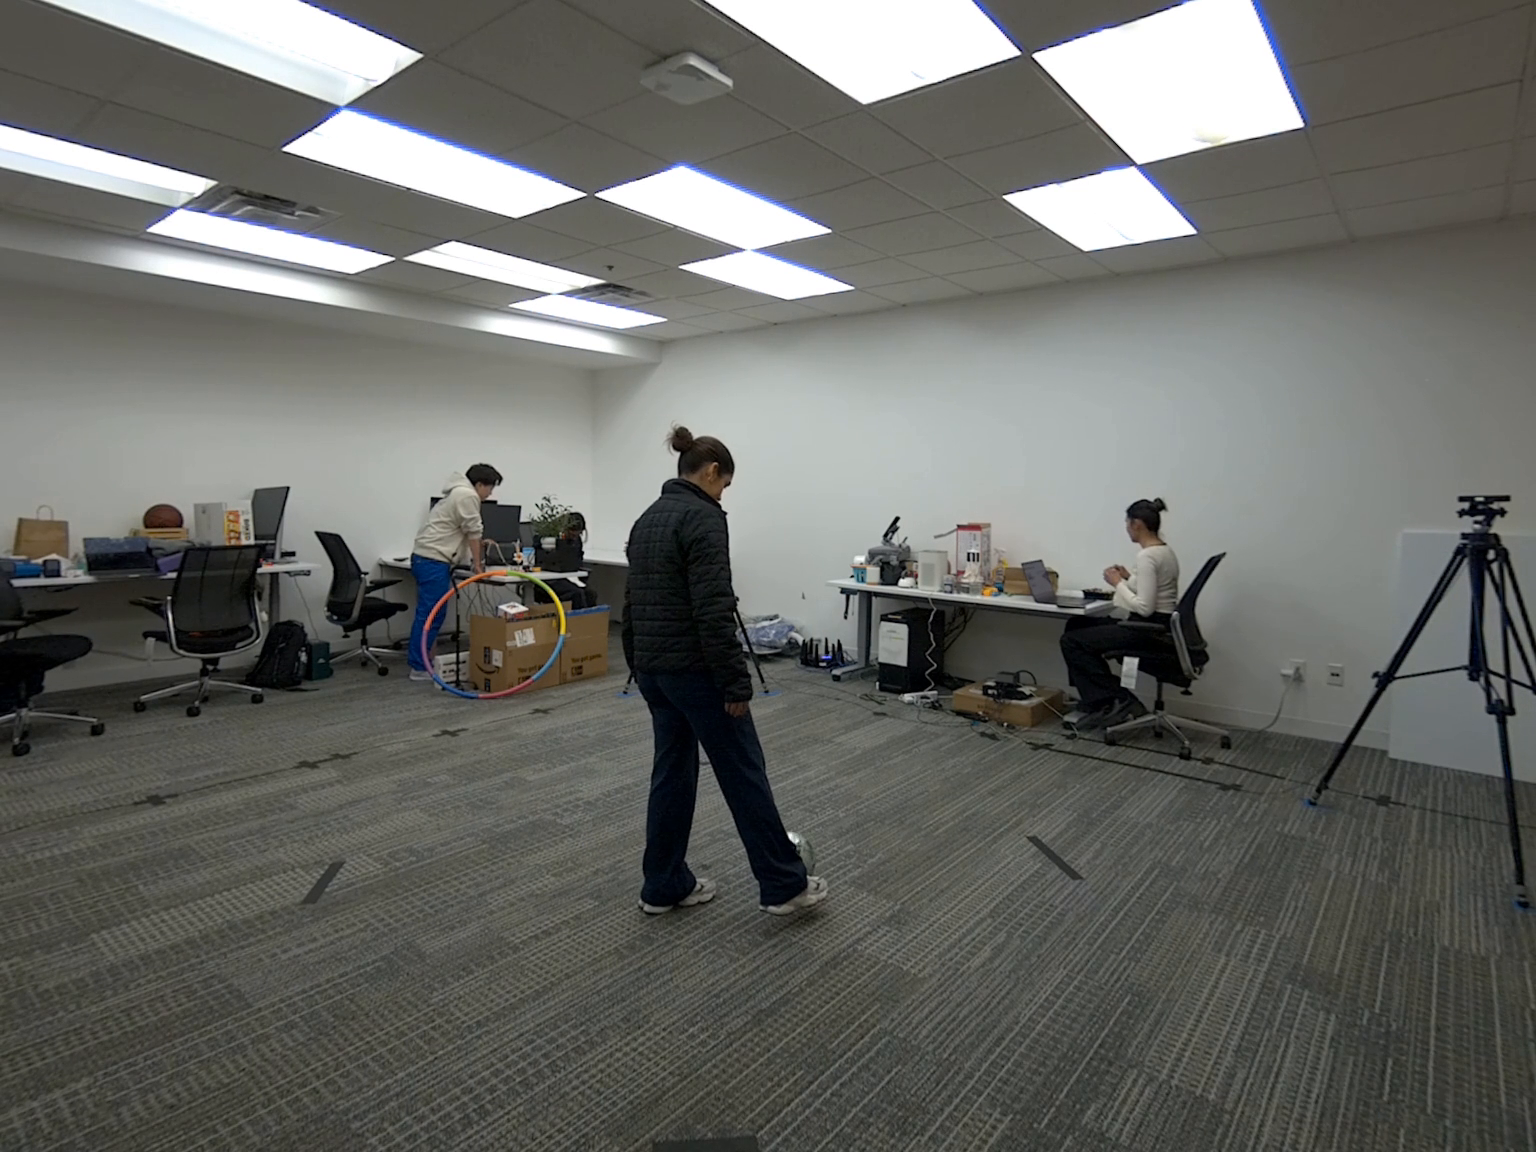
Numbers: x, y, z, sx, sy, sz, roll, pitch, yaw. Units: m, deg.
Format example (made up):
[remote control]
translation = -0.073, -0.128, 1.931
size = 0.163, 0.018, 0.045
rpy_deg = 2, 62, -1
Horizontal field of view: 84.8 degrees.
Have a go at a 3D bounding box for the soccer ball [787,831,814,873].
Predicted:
[soccer ball]
translation = 0.075, 0.984, 2.965
size = 0.187, 0.187, 0.188
rpy_deg = 1, 4, -2
